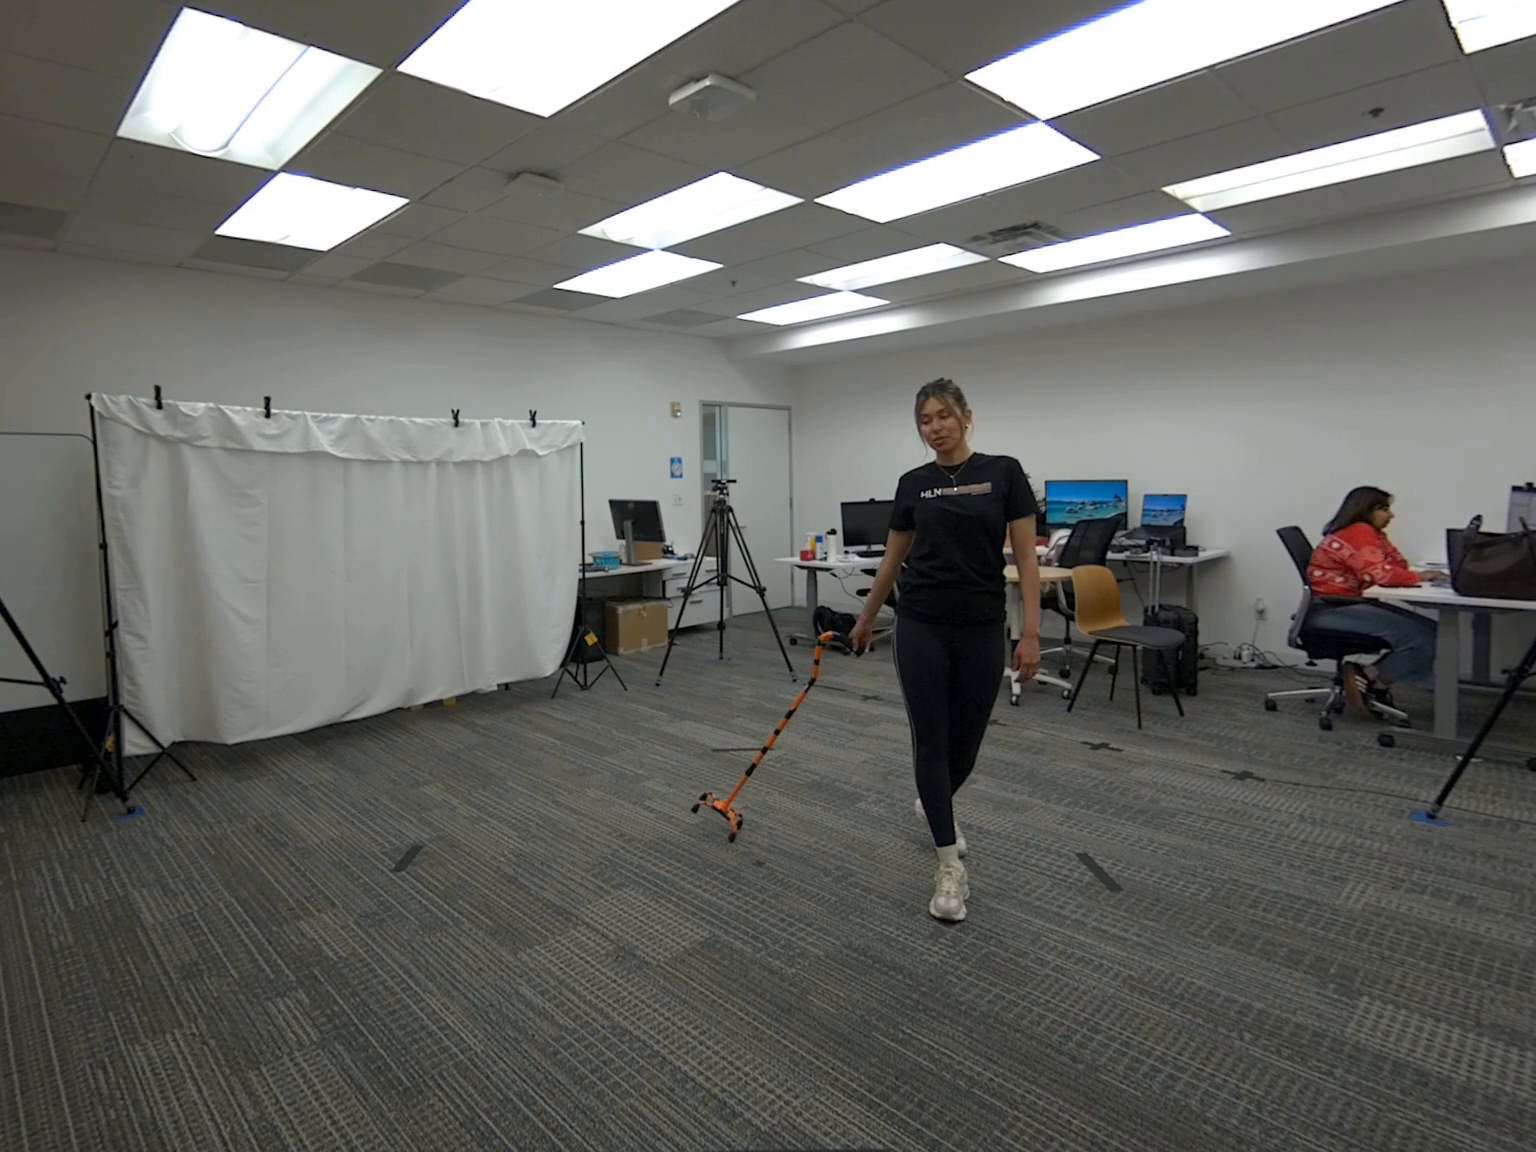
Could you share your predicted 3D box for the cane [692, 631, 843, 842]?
[{"bbox_3d":[0.040,0.592,3.294,0.209,0.905,0.150,34,11,8],"label":"cane"}]
